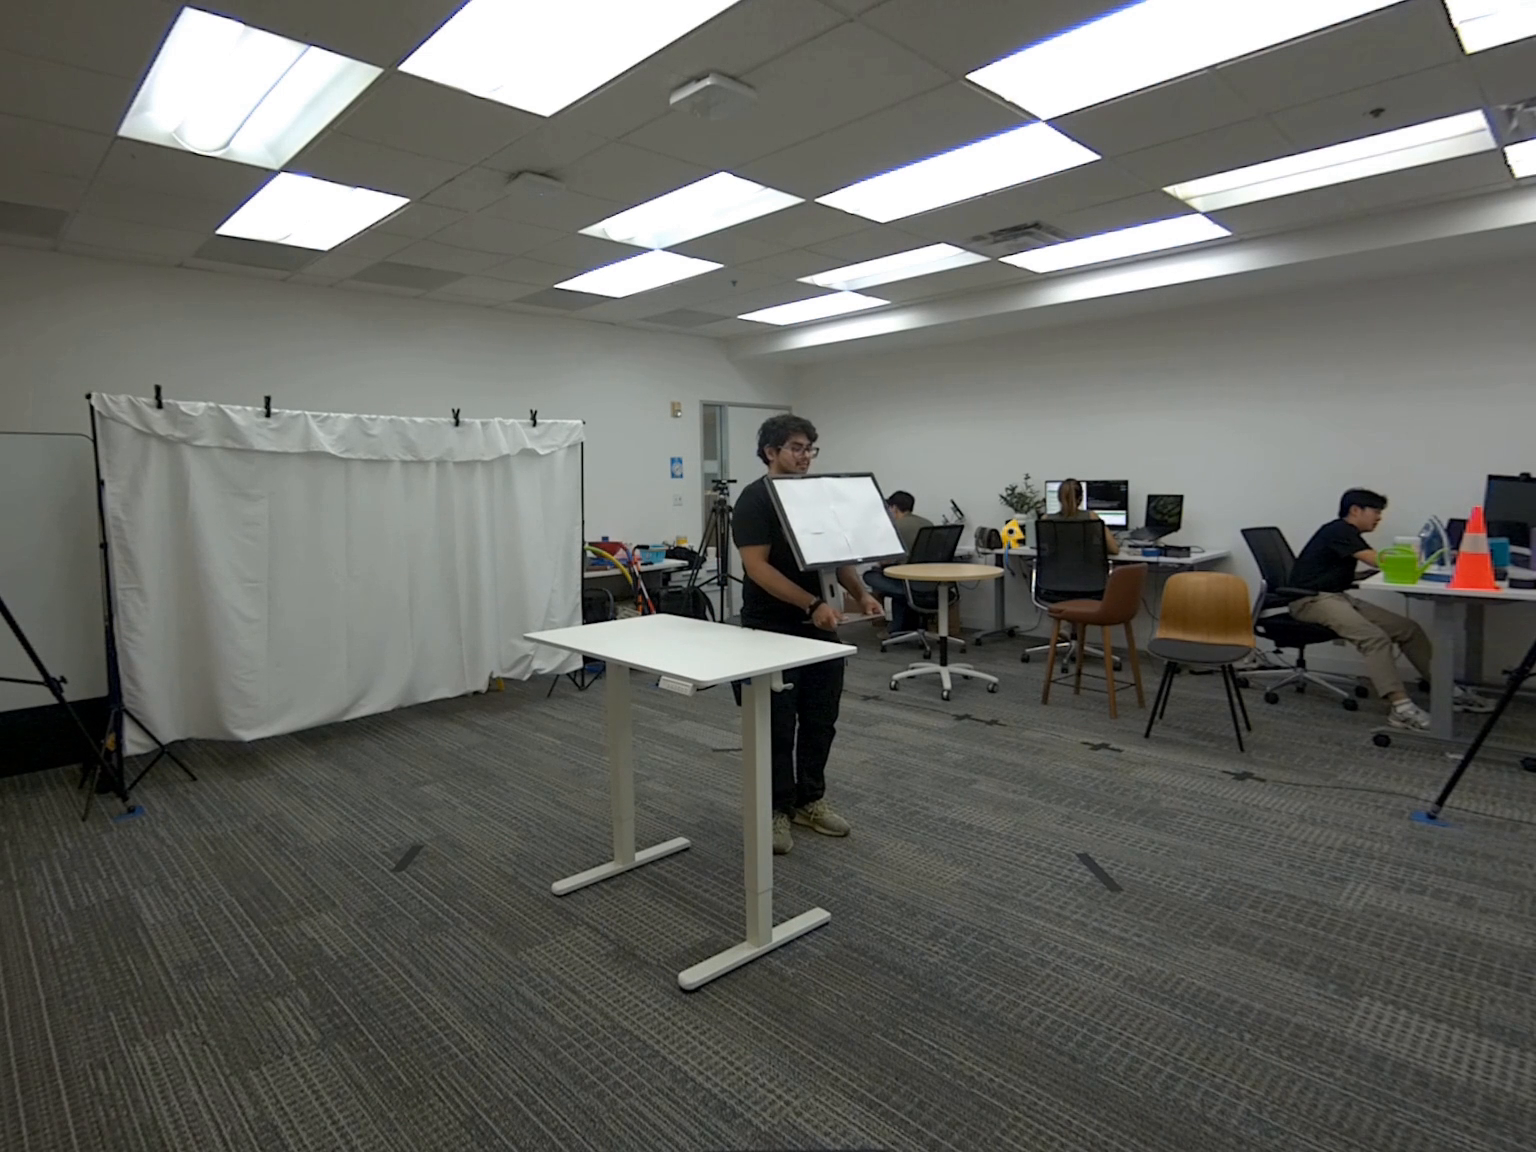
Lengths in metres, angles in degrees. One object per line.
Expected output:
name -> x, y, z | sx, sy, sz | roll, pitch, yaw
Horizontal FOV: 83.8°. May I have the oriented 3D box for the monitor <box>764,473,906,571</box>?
monitor -> 0.228, -0.096, 3.126 | 0.550, 0.562, 0.212 | -5, -16, -40
